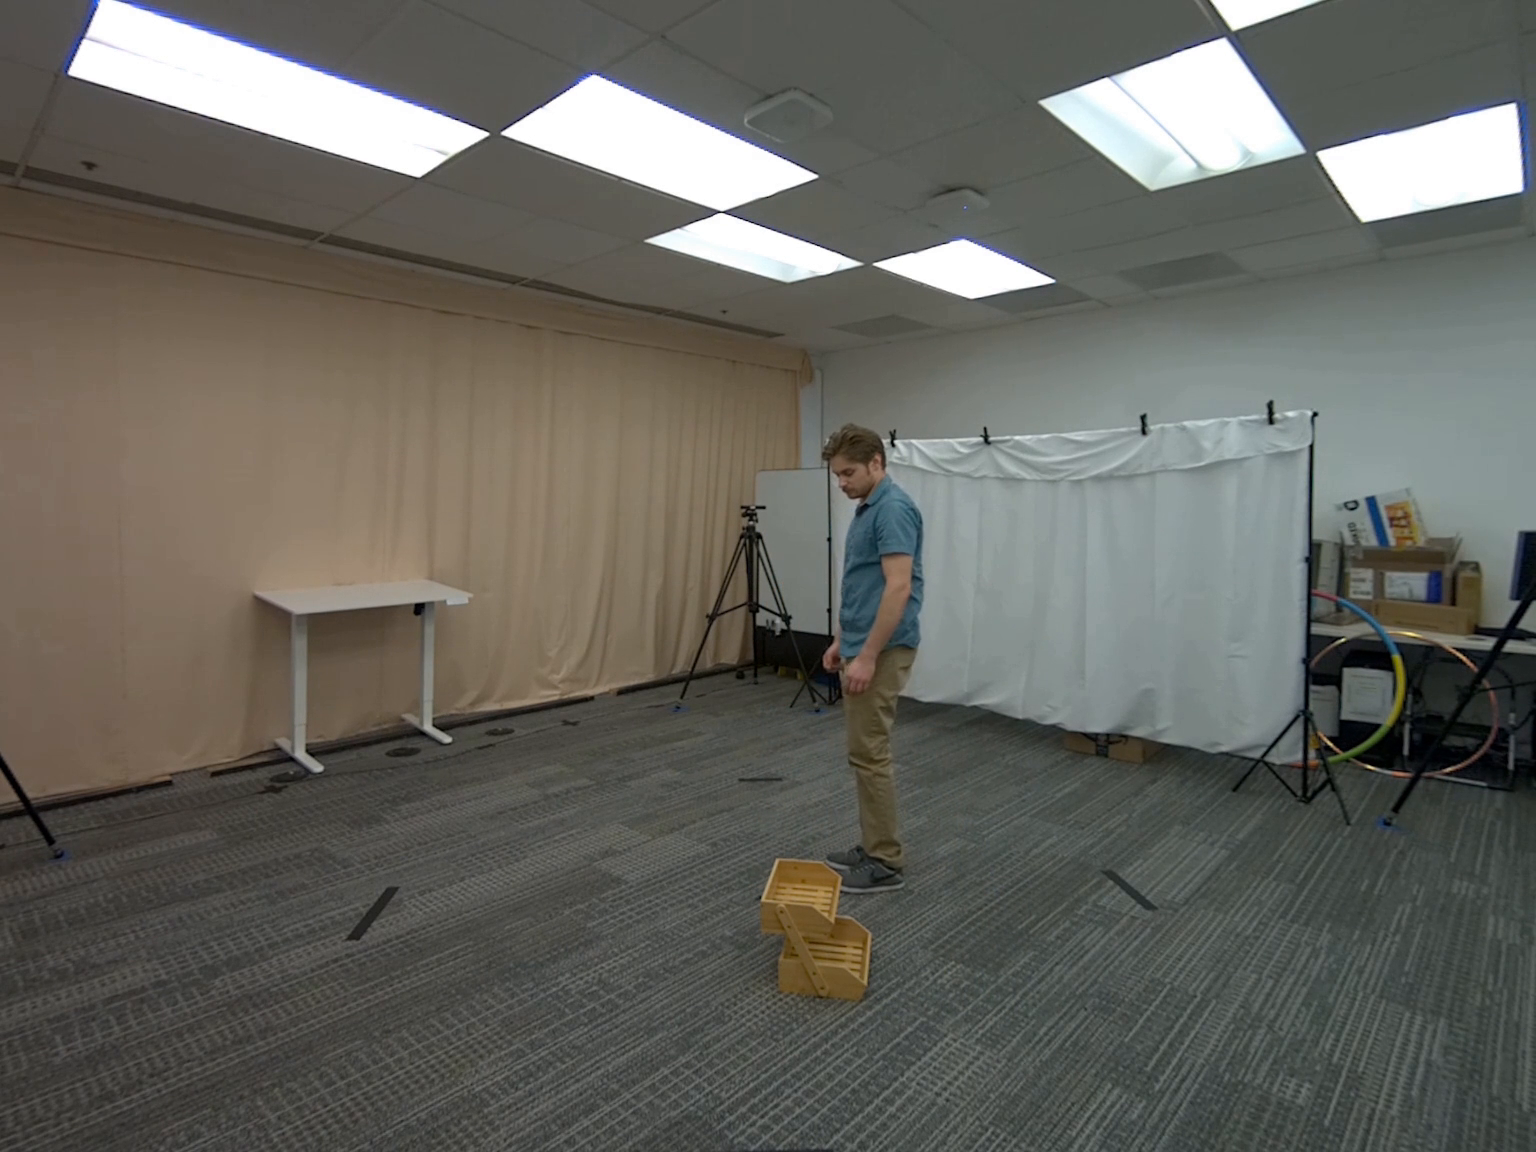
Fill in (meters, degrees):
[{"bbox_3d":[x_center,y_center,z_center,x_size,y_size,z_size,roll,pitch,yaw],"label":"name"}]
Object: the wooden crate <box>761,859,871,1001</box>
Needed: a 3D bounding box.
[{"bbox_3d":[0.166,1.050,2.528,0.306,0.273,0.321,0,3,11],"label":"wooden crate"}]
